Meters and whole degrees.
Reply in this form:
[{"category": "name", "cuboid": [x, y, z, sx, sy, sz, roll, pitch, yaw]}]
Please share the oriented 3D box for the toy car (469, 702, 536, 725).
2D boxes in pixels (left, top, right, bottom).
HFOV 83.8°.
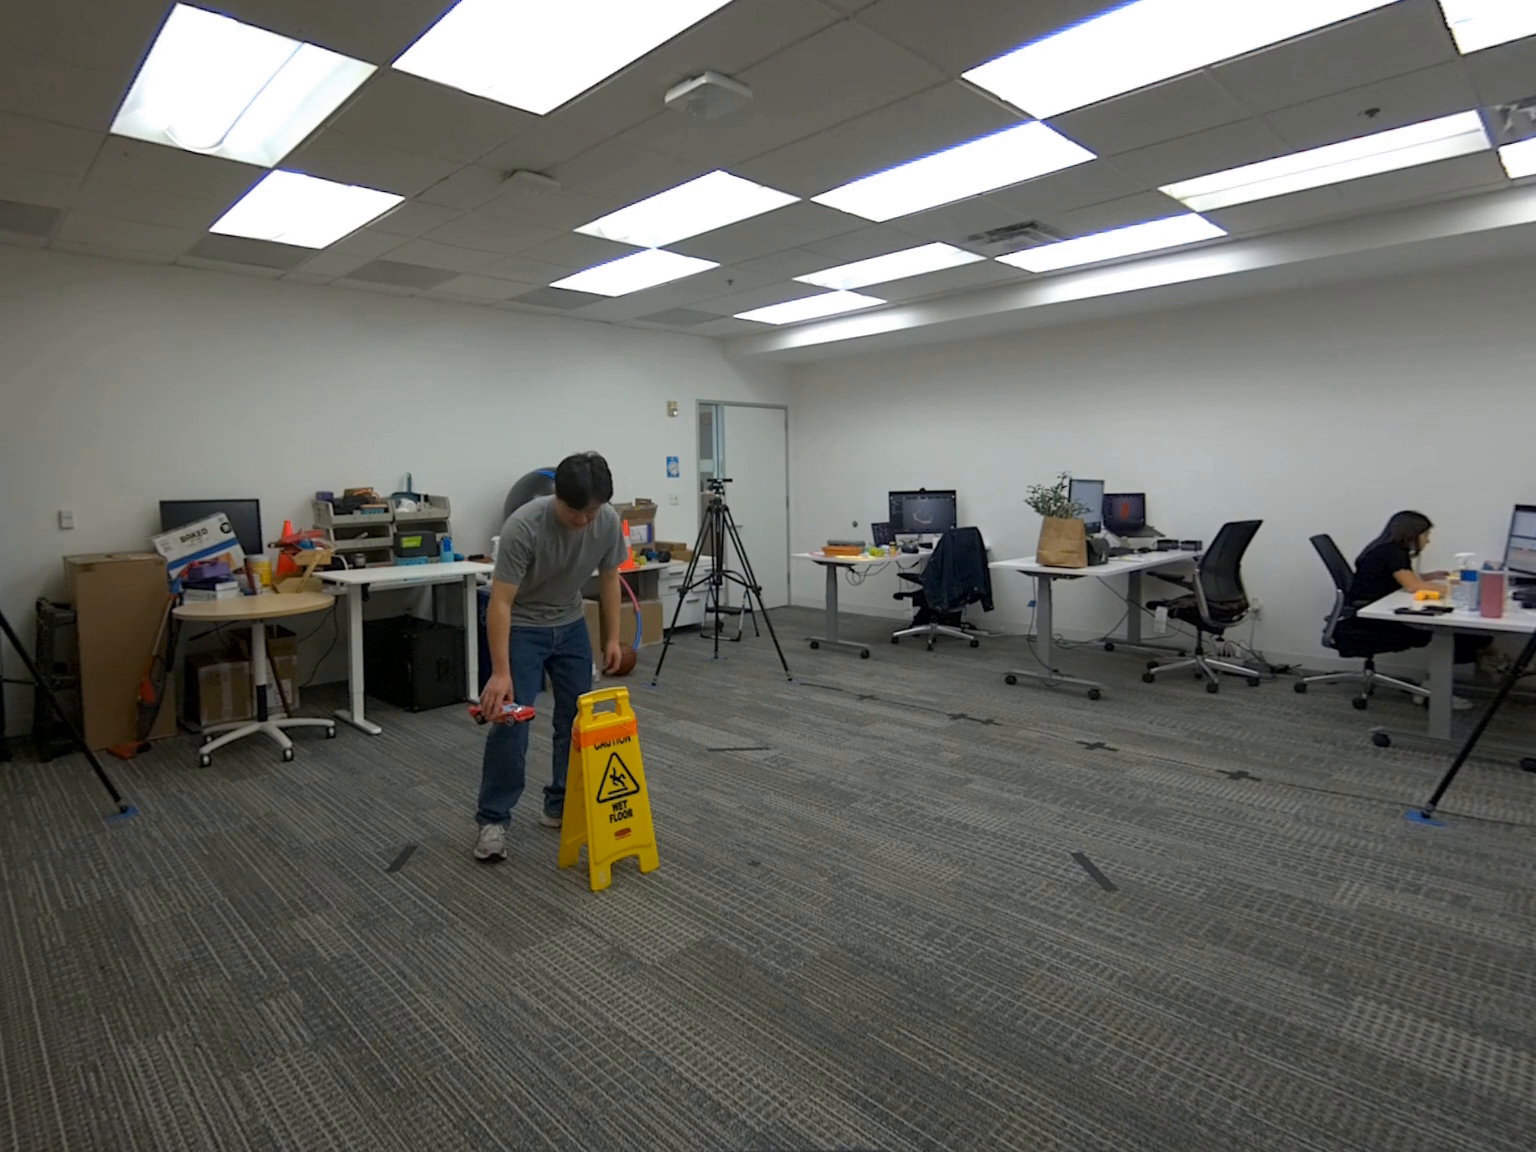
[{"category": "toy car", "cuboid": [-0.962, 0.504, 3.067, 0.262, 0.083, 0.127, 10, 7, 28]}]
